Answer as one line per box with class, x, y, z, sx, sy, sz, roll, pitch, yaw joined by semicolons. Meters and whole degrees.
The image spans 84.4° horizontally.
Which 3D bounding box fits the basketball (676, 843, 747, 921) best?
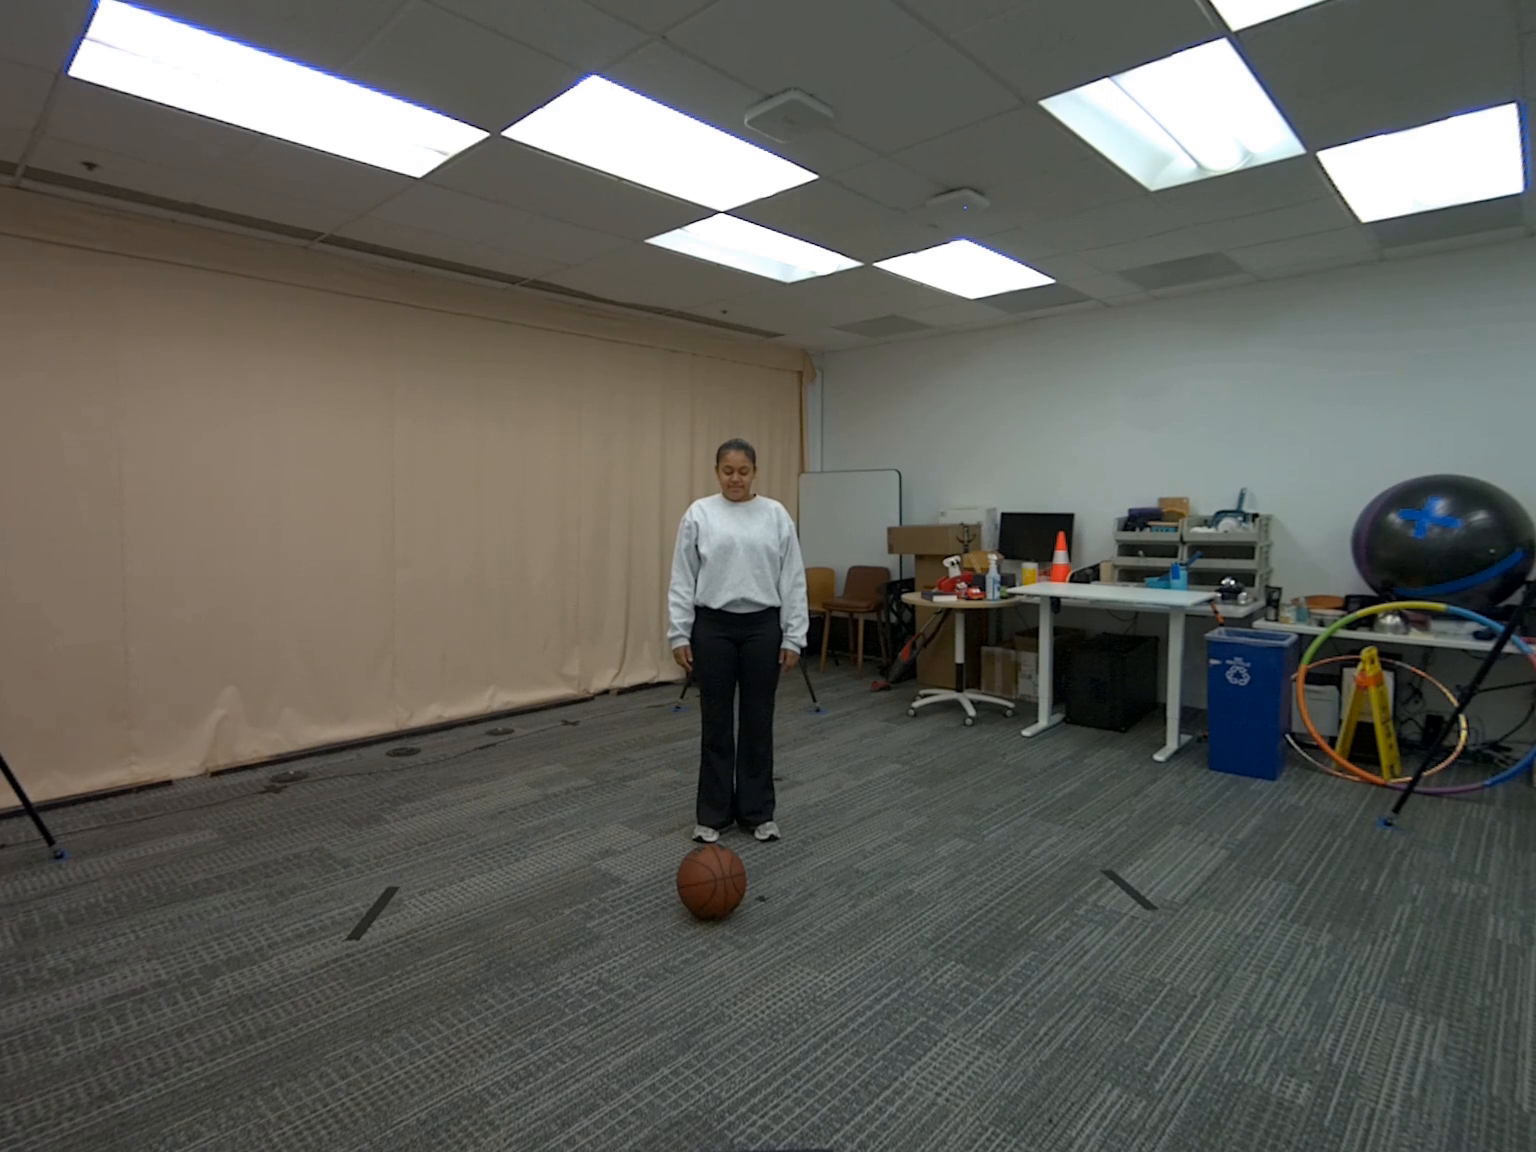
basketball;-0.193;1.029;2.858;0.236;0.235;0.237;0;4;-2
